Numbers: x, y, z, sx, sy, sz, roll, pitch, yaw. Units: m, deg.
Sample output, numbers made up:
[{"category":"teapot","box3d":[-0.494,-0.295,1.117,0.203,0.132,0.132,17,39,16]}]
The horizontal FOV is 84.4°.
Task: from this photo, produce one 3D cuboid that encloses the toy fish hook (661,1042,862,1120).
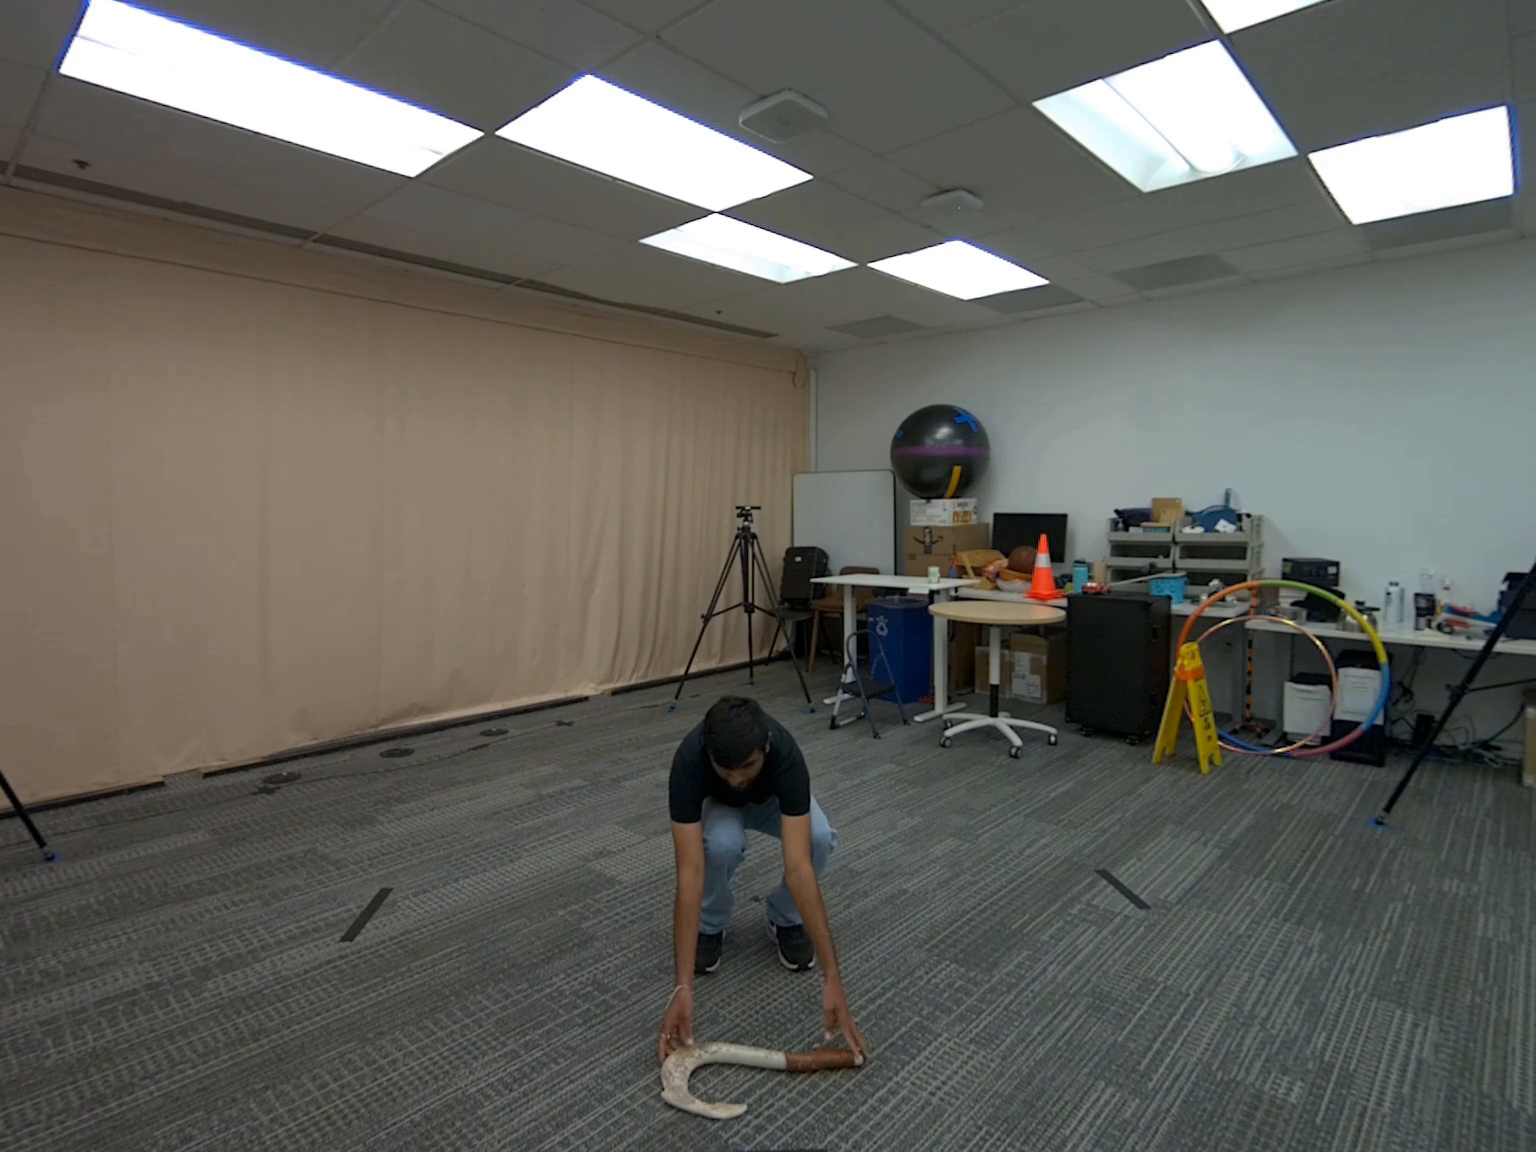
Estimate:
[{"category":"toy fish hook","box3d":[-0.001,1.199,2.033,0.504,0.048,0.228,-2,14,-5]}]
